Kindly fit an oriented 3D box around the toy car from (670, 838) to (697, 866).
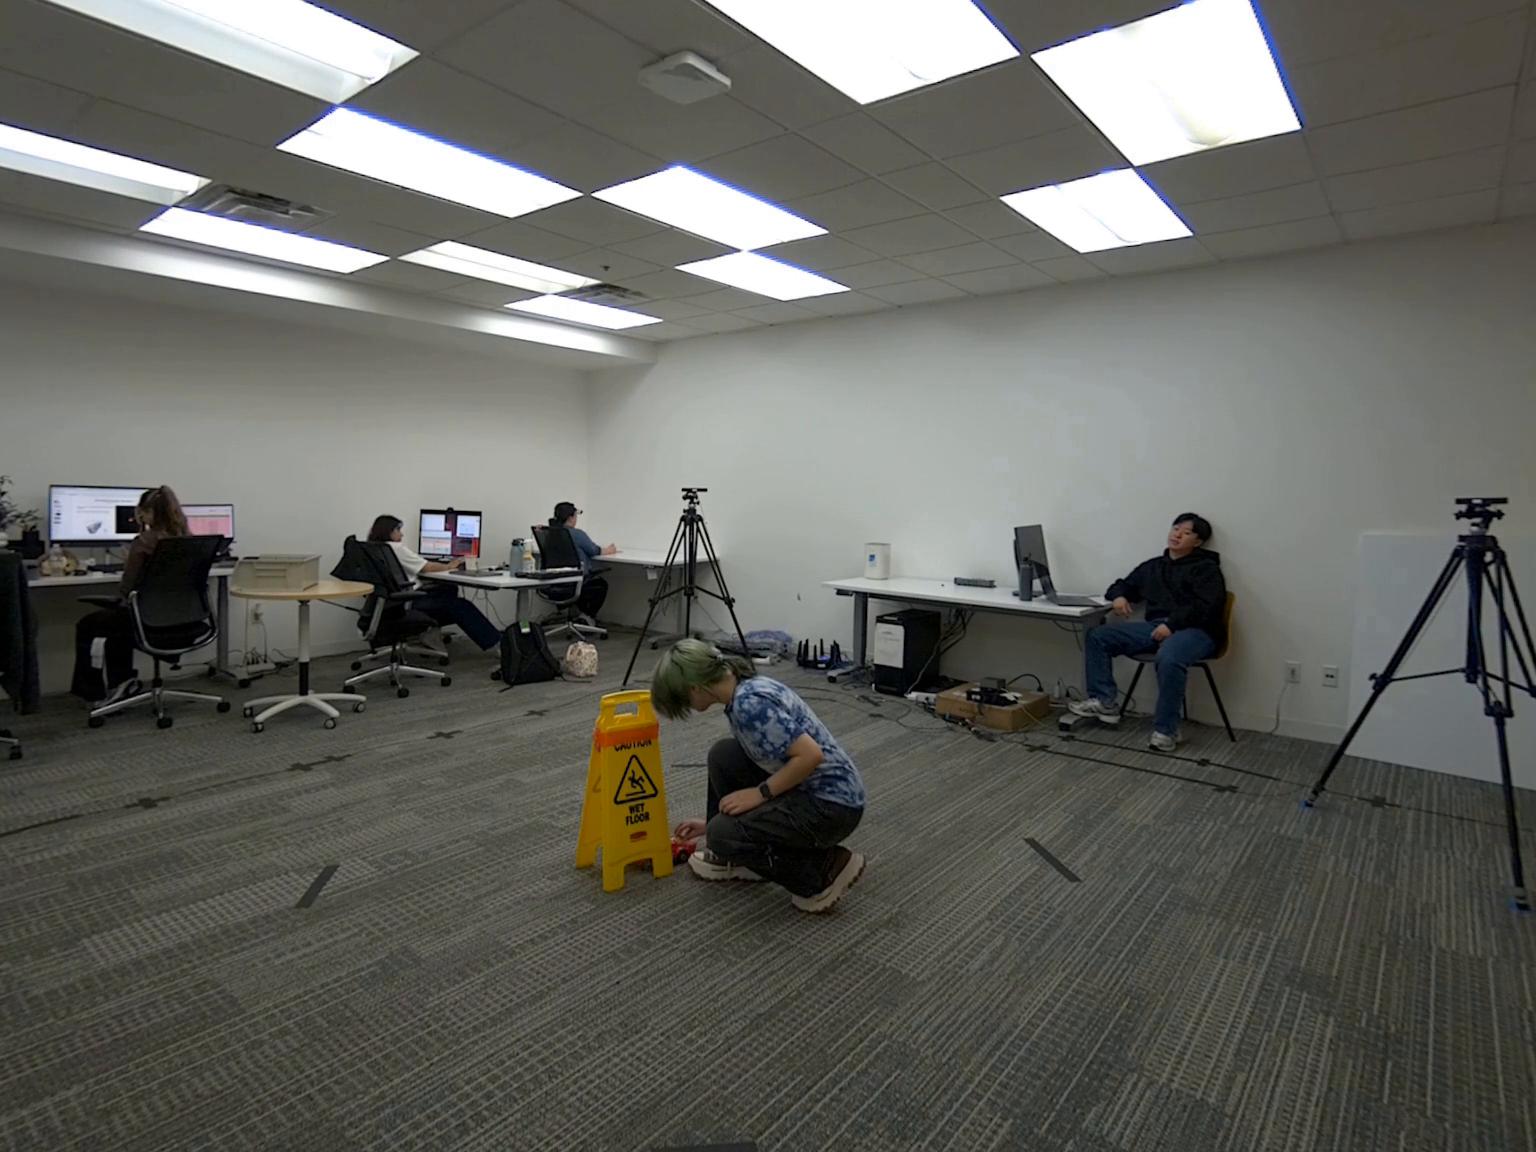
[{"bbox_3d":[-0.389,1.030,3.168,0.249,0.082,0.134,-15,12,-30],"label":"toy car"}]
